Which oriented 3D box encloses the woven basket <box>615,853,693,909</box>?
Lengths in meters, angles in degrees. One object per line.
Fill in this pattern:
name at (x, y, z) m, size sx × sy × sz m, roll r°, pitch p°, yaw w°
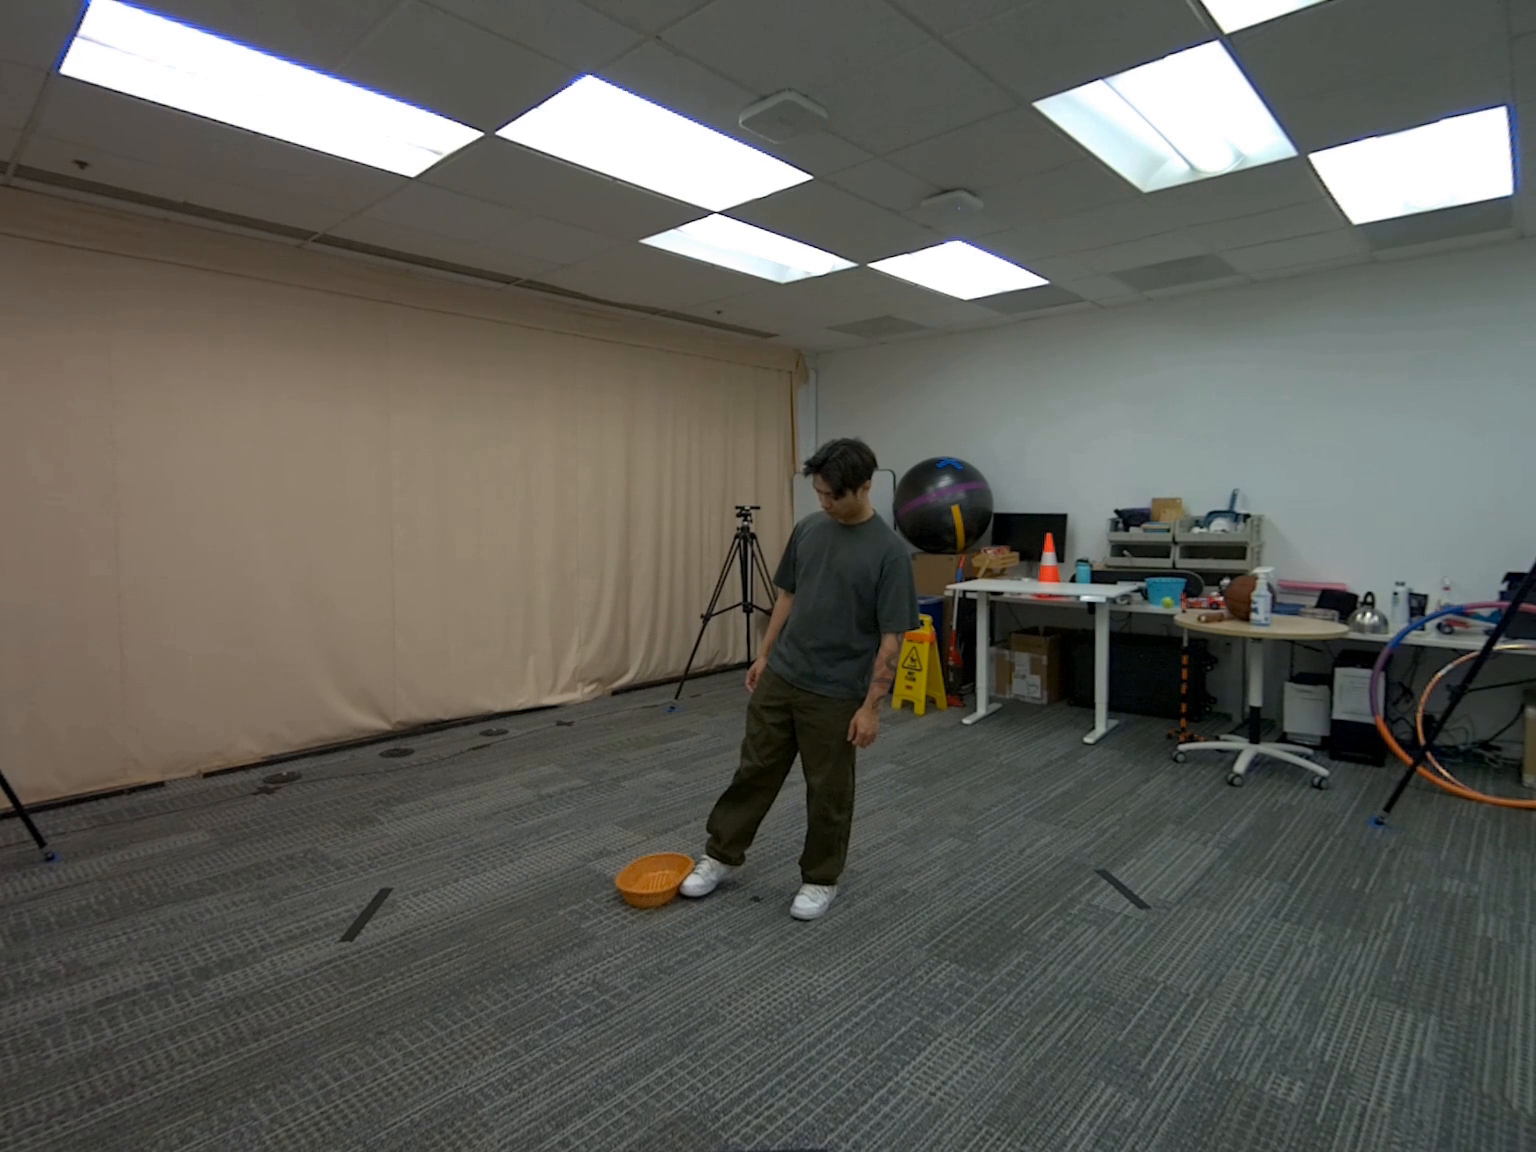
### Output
woven basket at (-0.409, 1.101, 3.051) m, size 0.258 × 0.073 × 0.343 m, roll -2°, pitch 4°, yaw 22°
